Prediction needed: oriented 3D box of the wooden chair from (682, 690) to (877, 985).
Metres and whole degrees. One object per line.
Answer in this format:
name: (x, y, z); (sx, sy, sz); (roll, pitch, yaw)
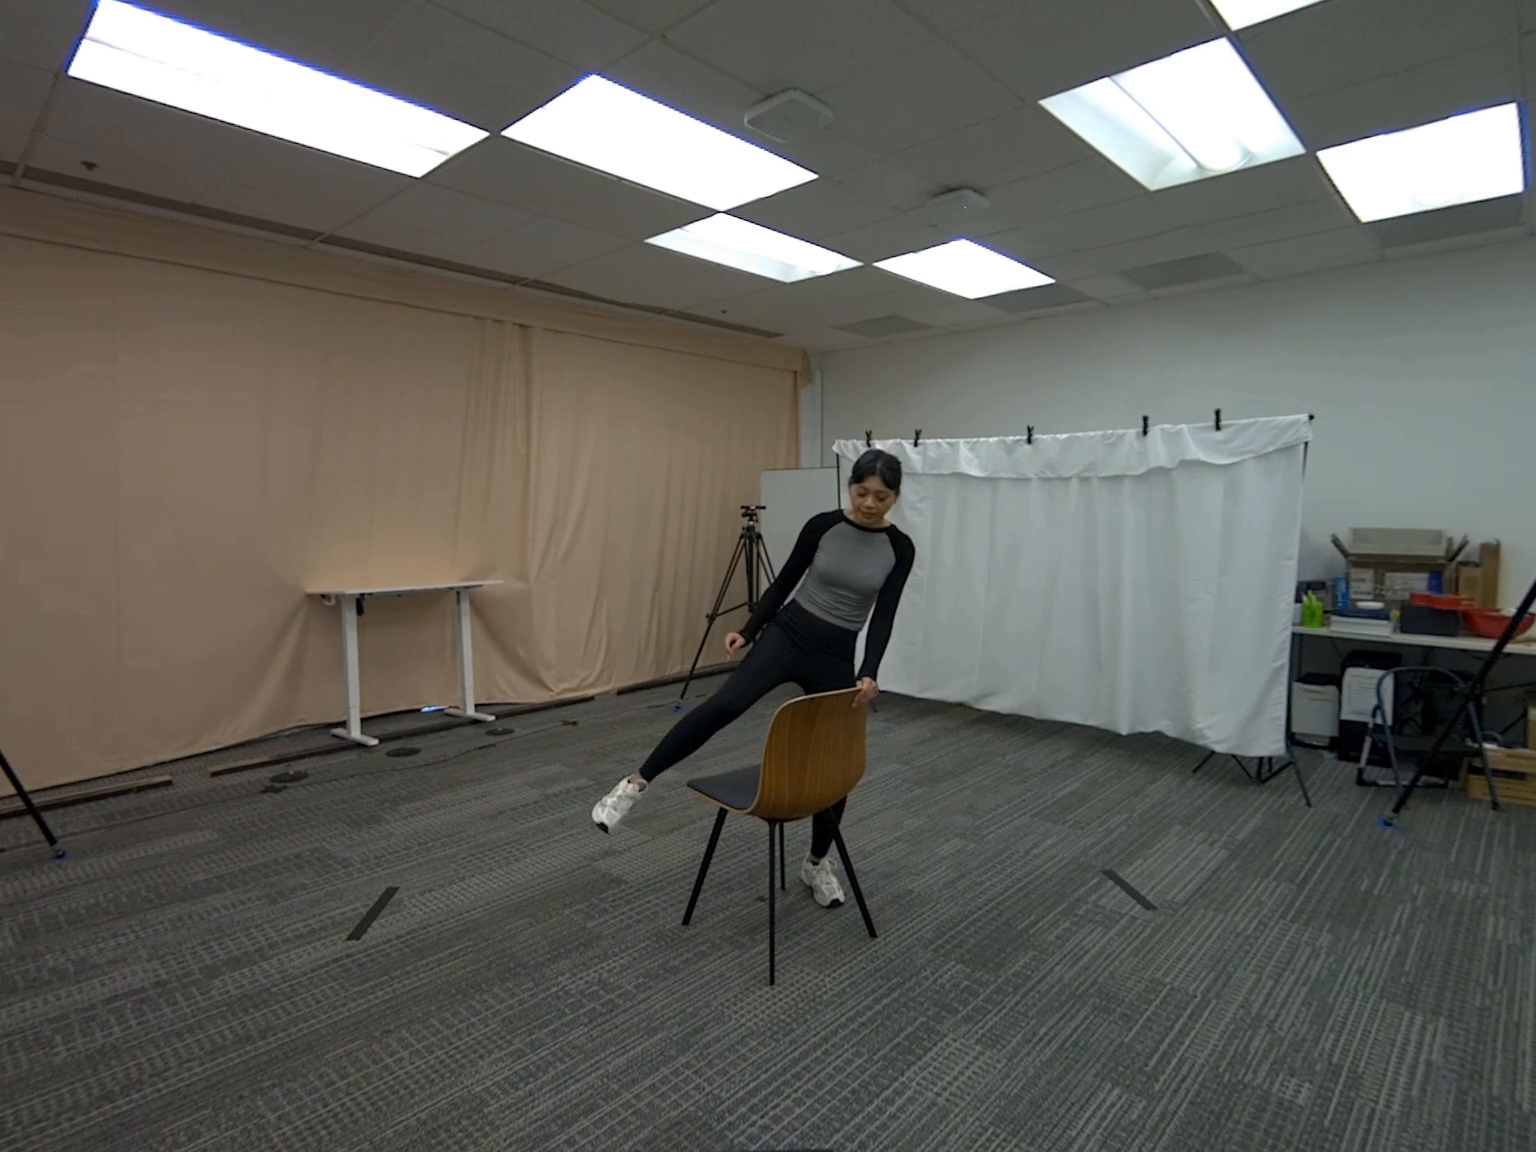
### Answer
wooden chair: (0.028, 0.739, 2.729); (0.464, 0.874, 0.541); (-3, 9, -39)
